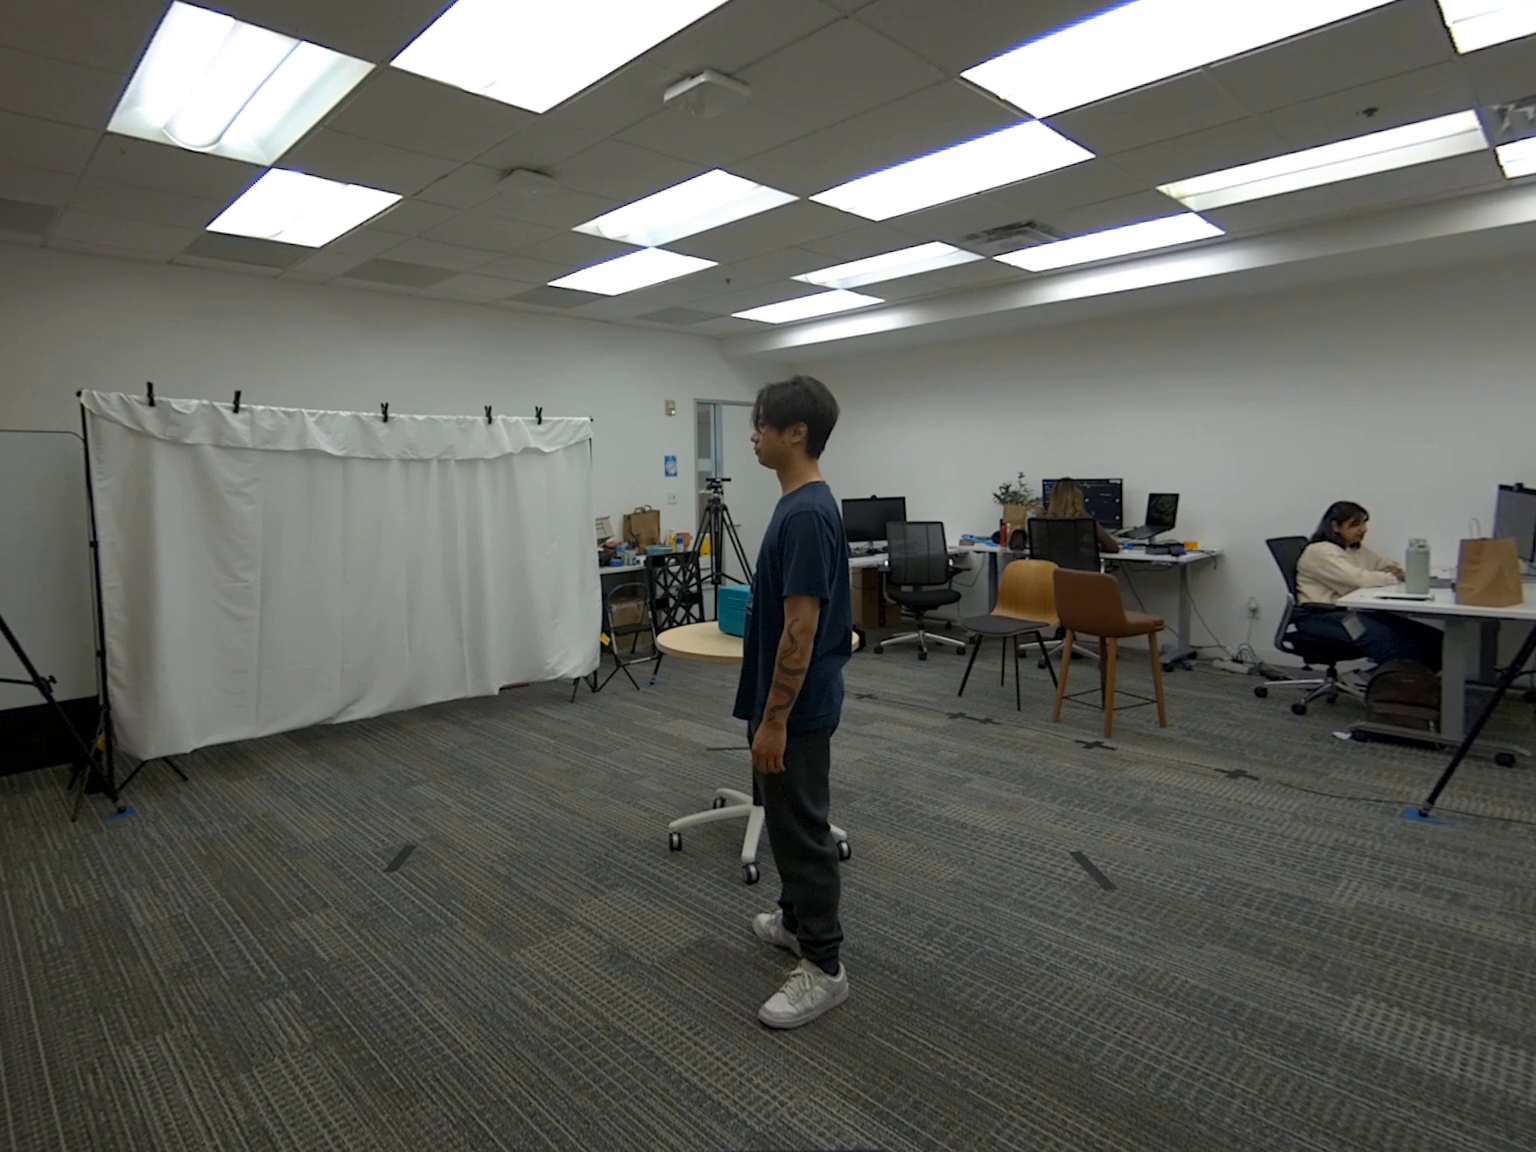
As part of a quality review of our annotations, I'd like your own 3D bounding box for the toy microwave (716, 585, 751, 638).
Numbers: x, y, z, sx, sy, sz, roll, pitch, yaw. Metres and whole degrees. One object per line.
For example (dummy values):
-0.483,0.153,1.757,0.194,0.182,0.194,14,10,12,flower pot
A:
-0.052,0.138,3.274,0.148,0.183,0.295,-4,7,-38,toy microwave
